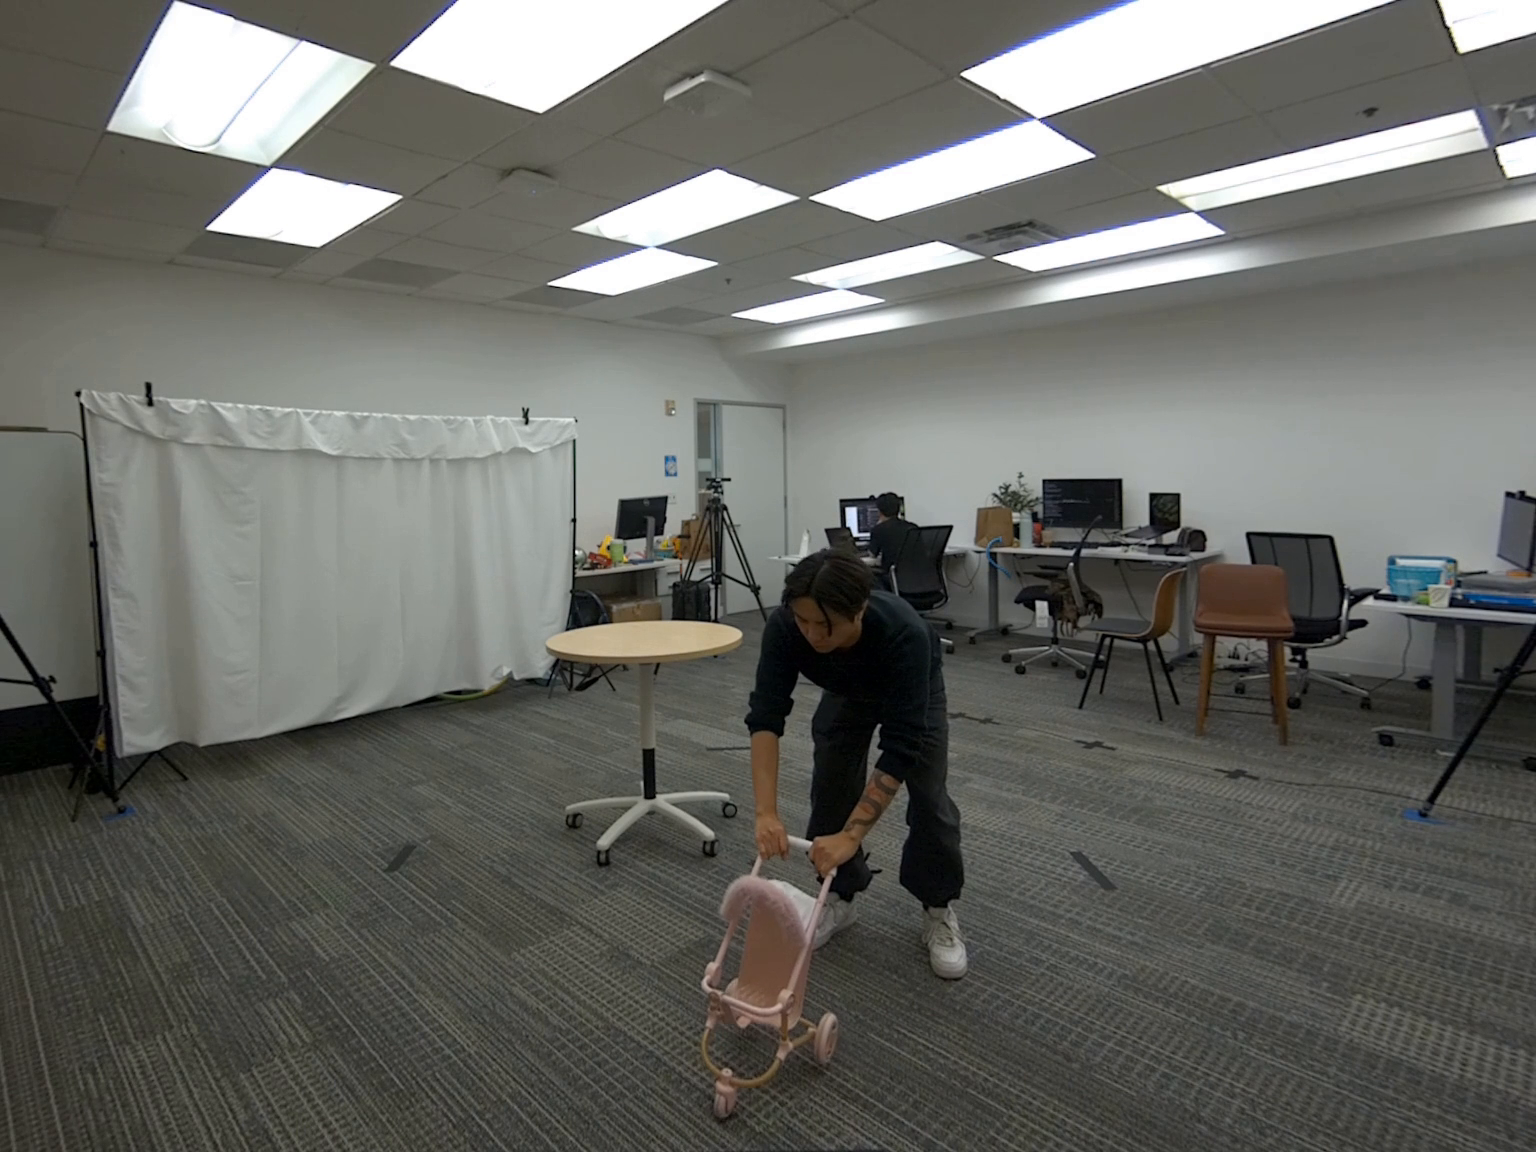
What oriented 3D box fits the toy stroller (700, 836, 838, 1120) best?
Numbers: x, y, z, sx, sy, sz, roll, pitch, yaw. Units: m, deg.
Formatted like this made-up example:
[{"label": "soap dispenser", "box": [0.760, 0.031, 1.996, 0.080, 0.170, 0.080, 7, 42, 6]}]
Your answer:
[{"label": "toy stroller", "box": [-0.003, 0.931, 1.988, 0.290, 0.535, 0.331, 6, 0, 34]}]
